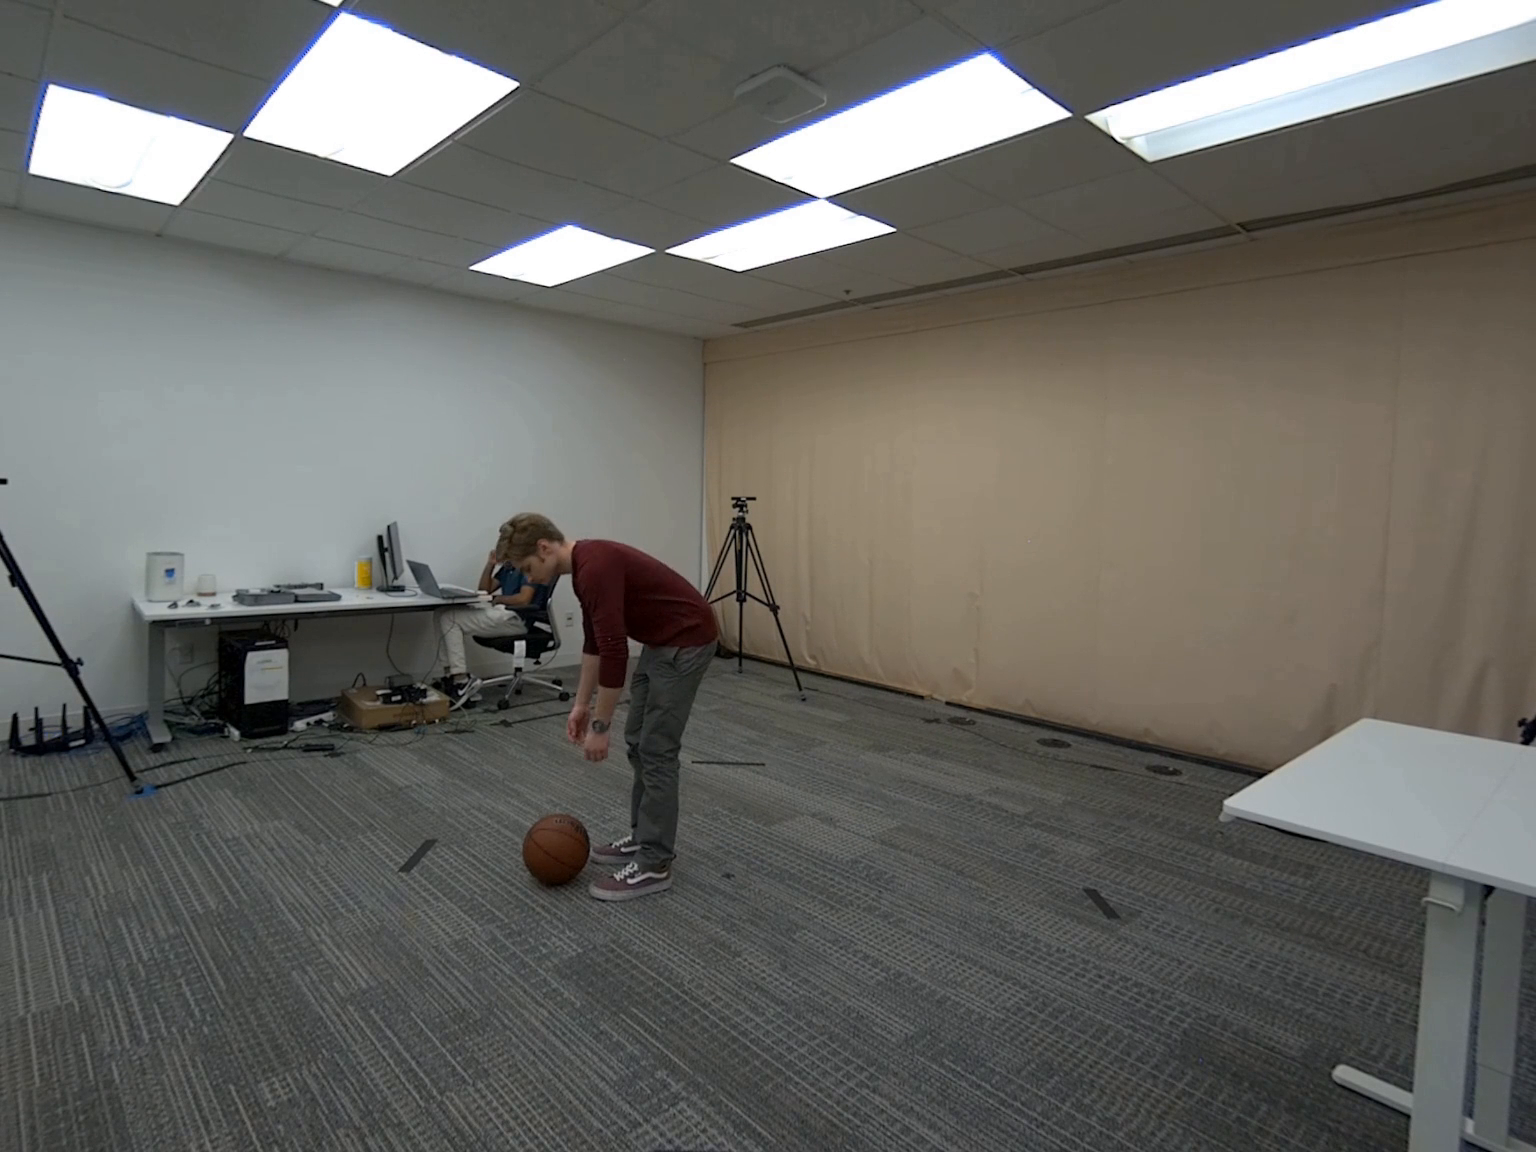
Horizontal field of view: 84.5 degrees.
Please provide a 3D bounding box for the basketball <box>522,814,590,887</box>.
[{"bbox_3d":[-0.769,0.981,3.026,0.236,0.235,0.237,1,4,-1],"label":"basketball"}]
